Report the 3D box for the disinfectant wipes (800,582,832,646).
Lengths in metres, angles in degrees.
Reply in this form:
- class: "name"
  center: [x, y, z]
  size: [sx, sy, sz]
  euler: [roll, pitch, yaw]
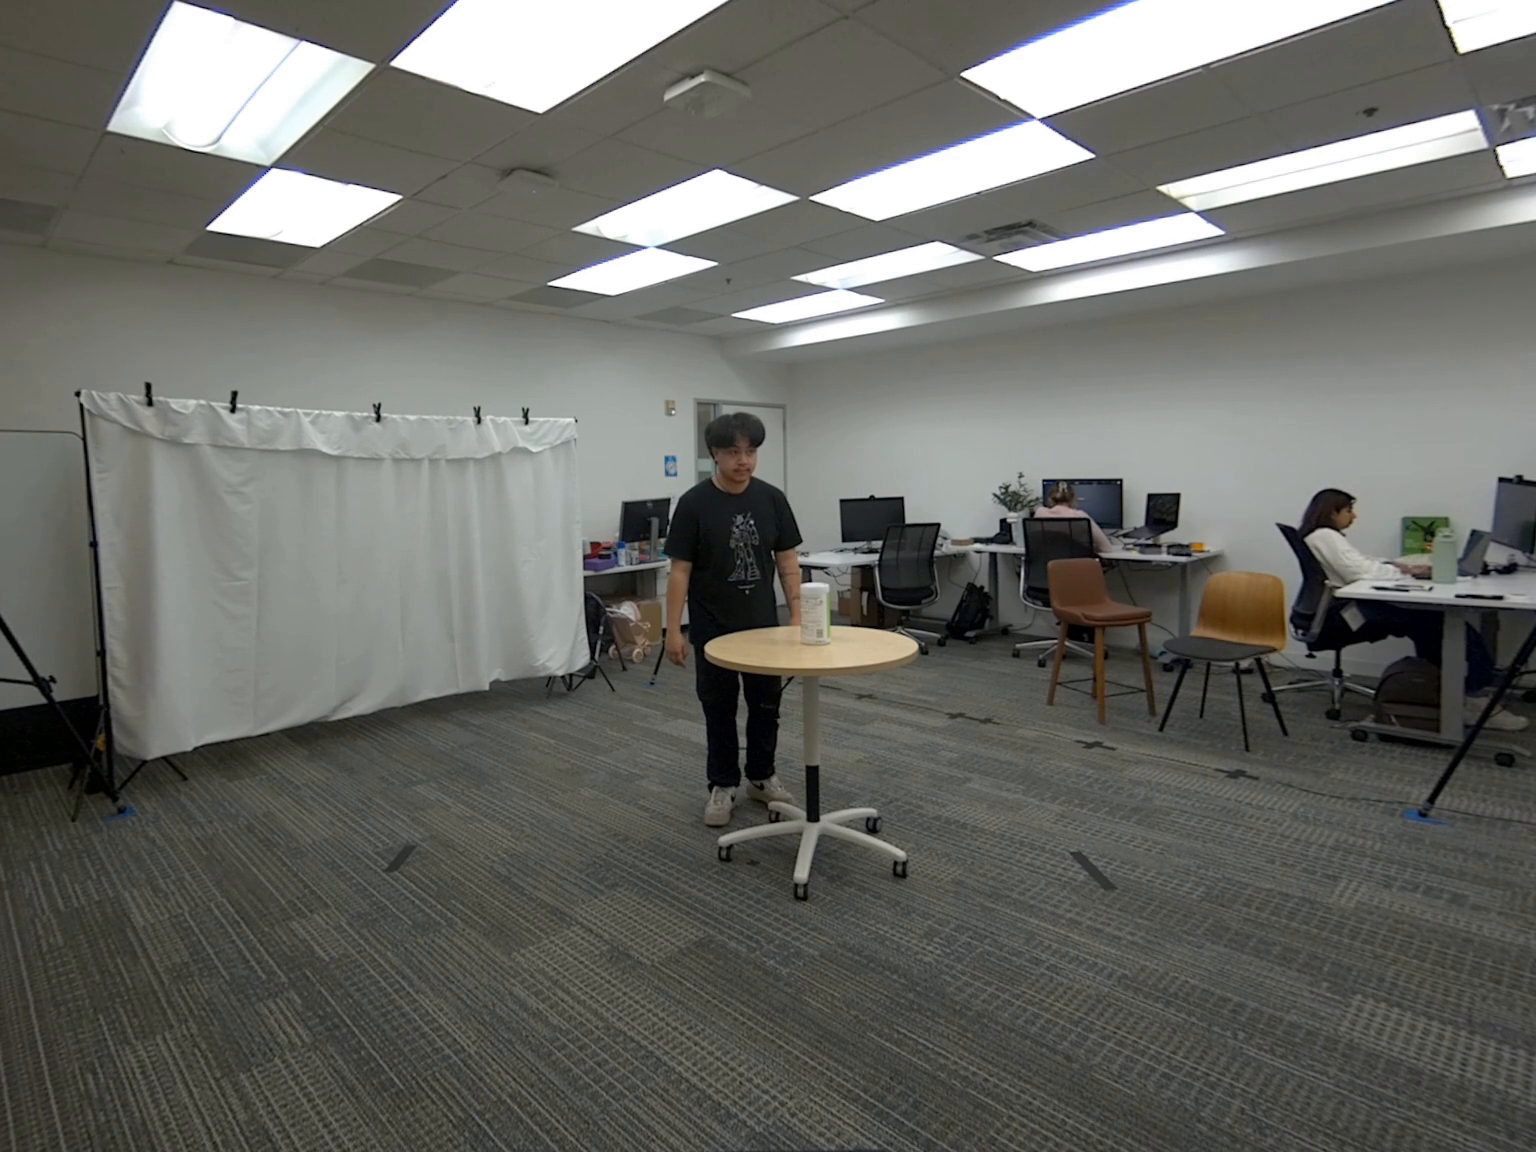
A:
- class: "disinfectant wipes"
  center: [0.170, 0.140, 3.117]
  size: [0.118, 0.217, 0.118]
  euler: [0, 4, -2]
